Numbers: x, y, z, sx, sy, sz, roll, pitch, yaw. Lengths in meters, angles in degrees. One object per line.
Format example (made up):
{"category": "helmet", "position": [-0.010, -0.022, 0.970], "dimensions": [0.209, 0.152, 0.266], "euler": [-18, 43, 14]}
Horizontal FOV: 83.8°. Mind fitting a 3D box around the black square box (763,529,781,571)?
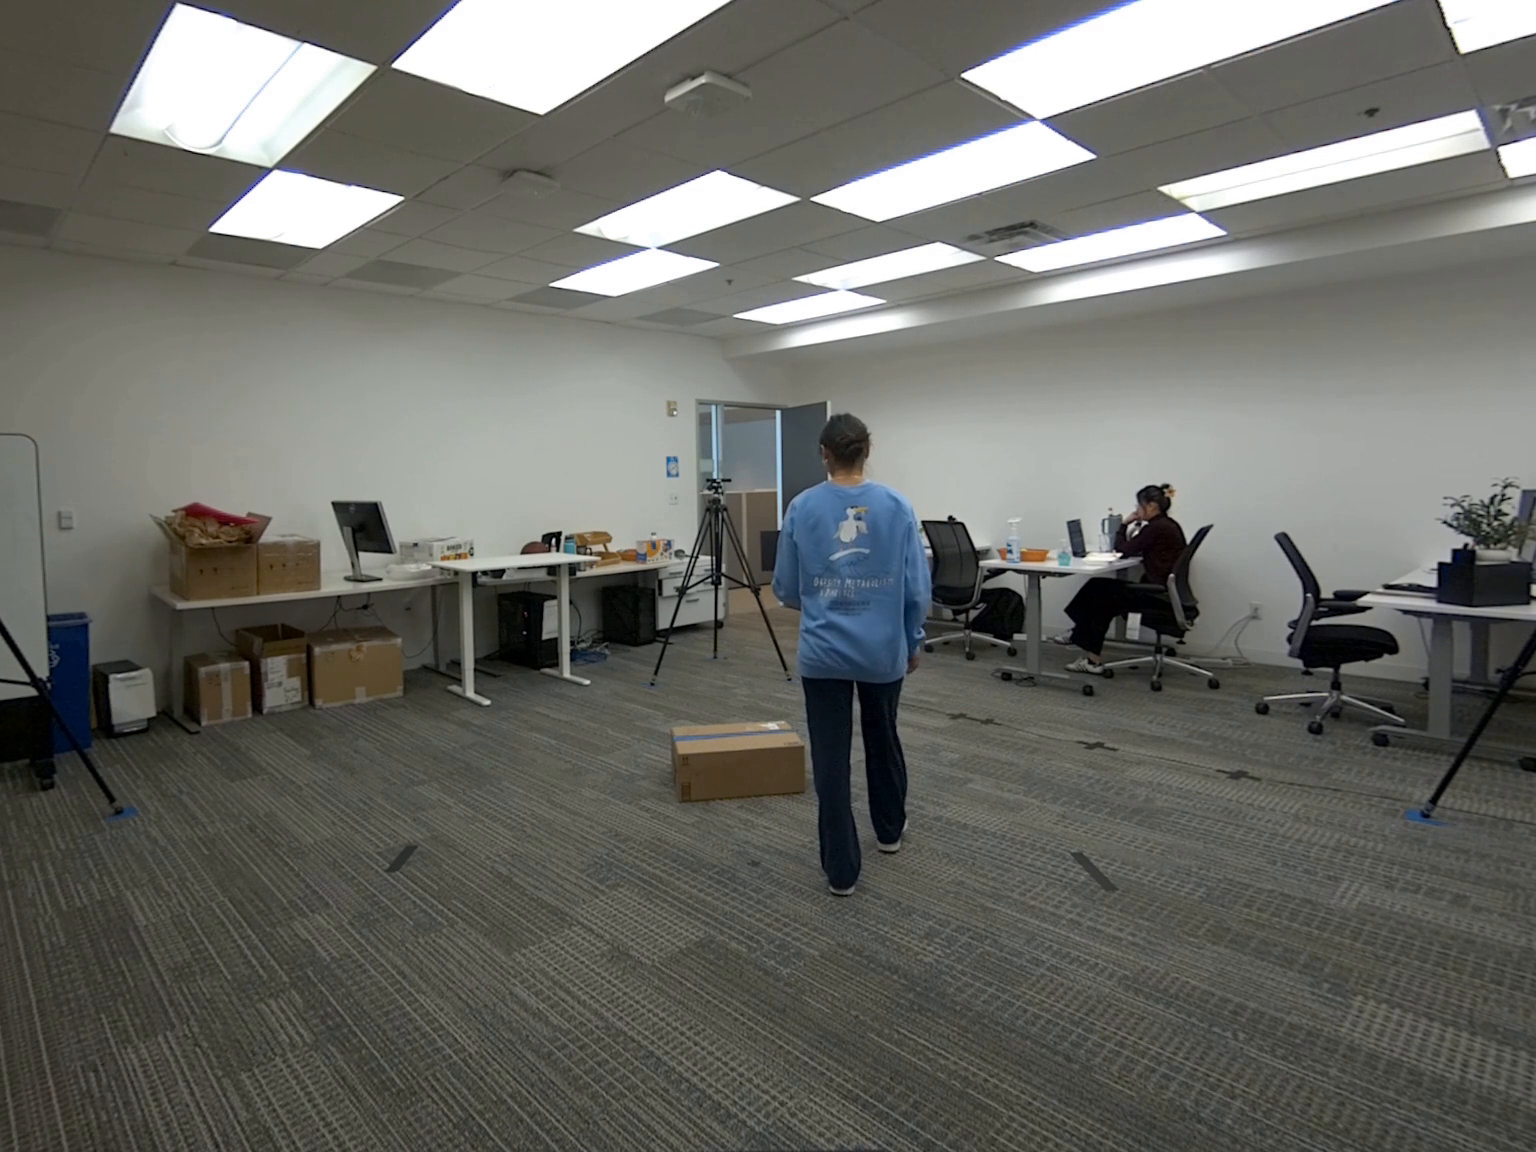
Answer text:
{"category": "black square box", "position": [0.118, -0.106, 3.322], "dimensions": [0.221, 0.156, 0.224], "euler": [0, 2, 19]}
